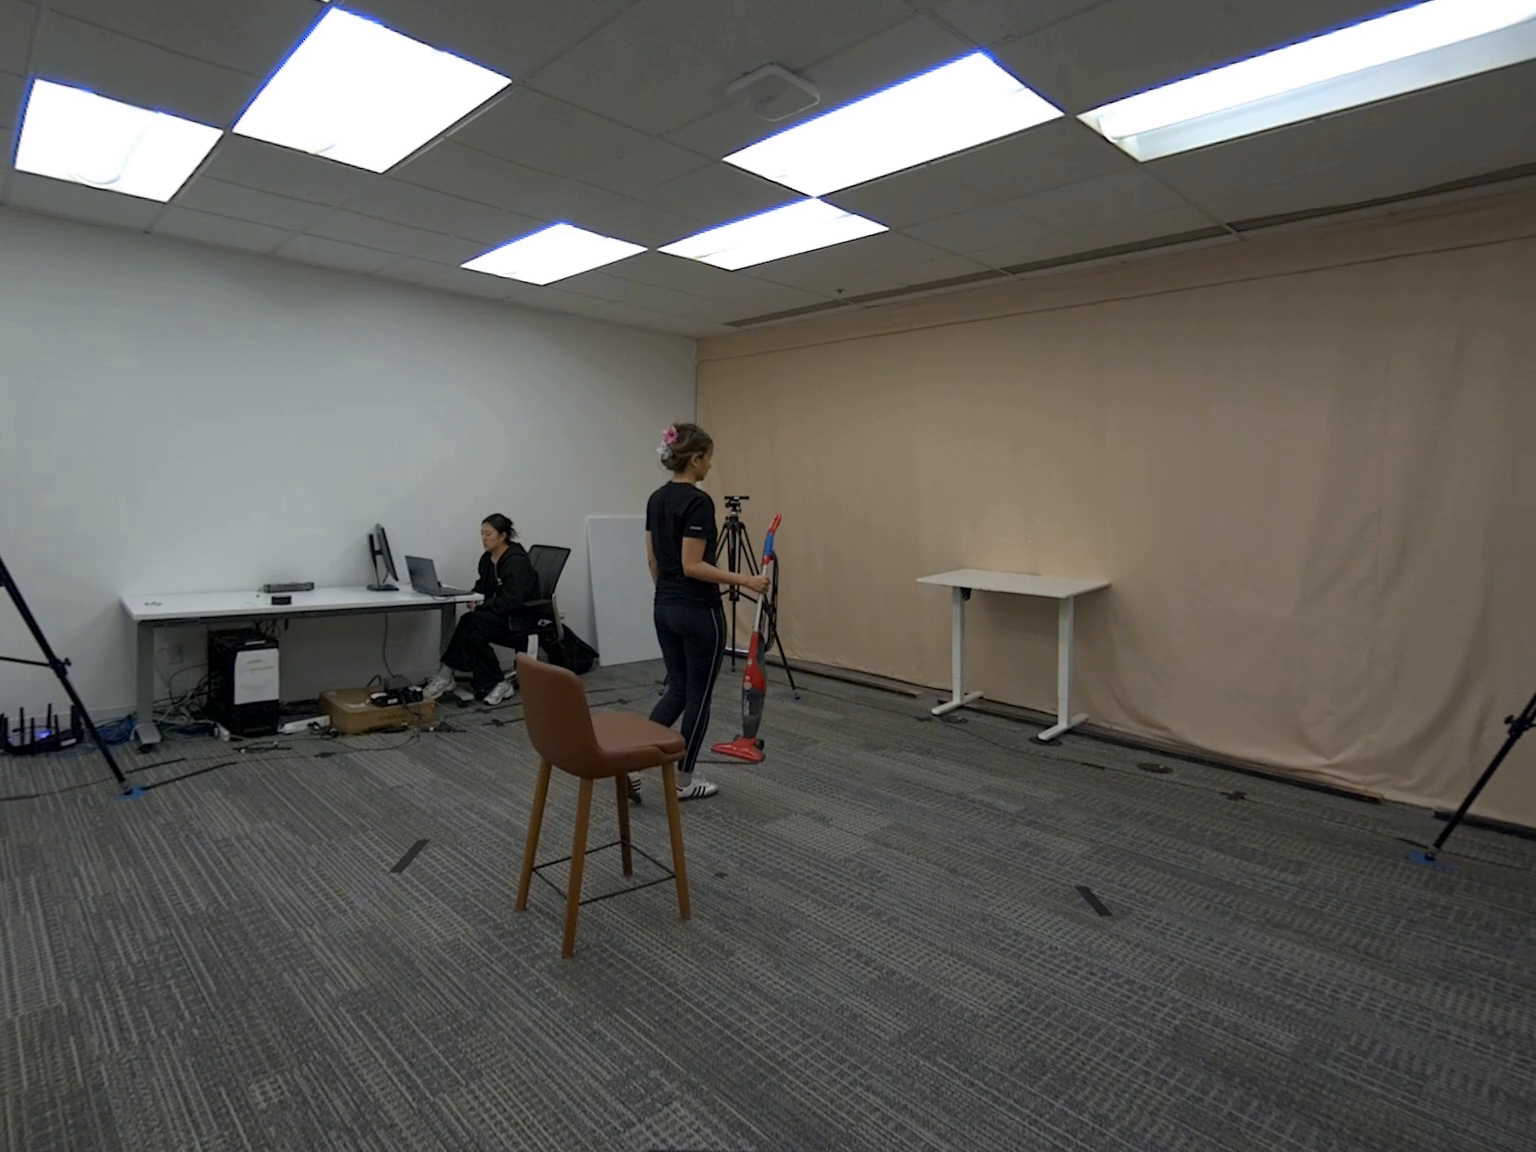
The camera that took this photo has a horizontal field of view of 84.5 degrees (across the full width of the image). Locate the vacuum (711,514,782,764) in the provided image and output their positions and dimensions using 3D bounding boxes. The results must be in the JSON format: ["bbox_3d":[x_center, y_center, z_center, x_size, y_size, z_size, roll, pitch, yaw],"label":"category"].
[{"bbox_3d":[-0.034,0.251,3.713,0.259,1.053,0.140,5,-8,37],"label":"vacuum"}]
